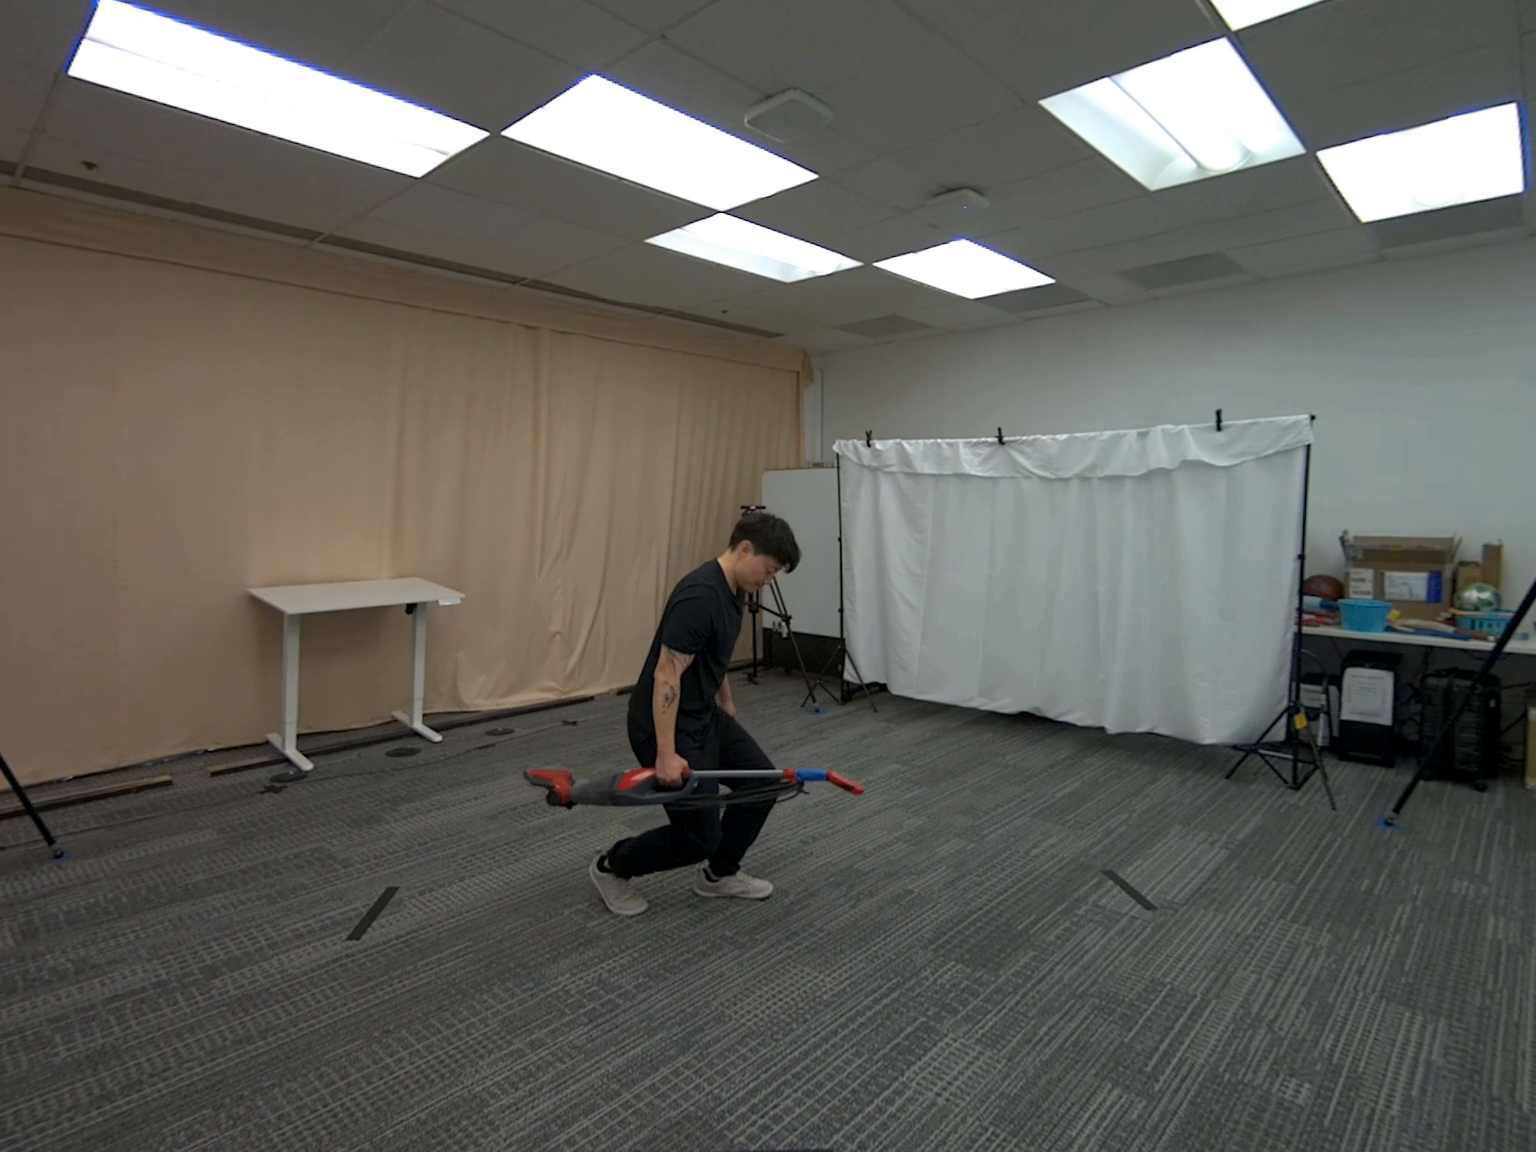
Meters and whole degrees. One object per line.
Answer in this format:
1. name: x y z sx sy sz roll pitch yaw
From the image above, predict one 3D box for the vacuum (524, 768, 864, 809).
1. vacuum: -0.223 0.668 2.627 1.072 0.145 0.245 -5 -12 23
